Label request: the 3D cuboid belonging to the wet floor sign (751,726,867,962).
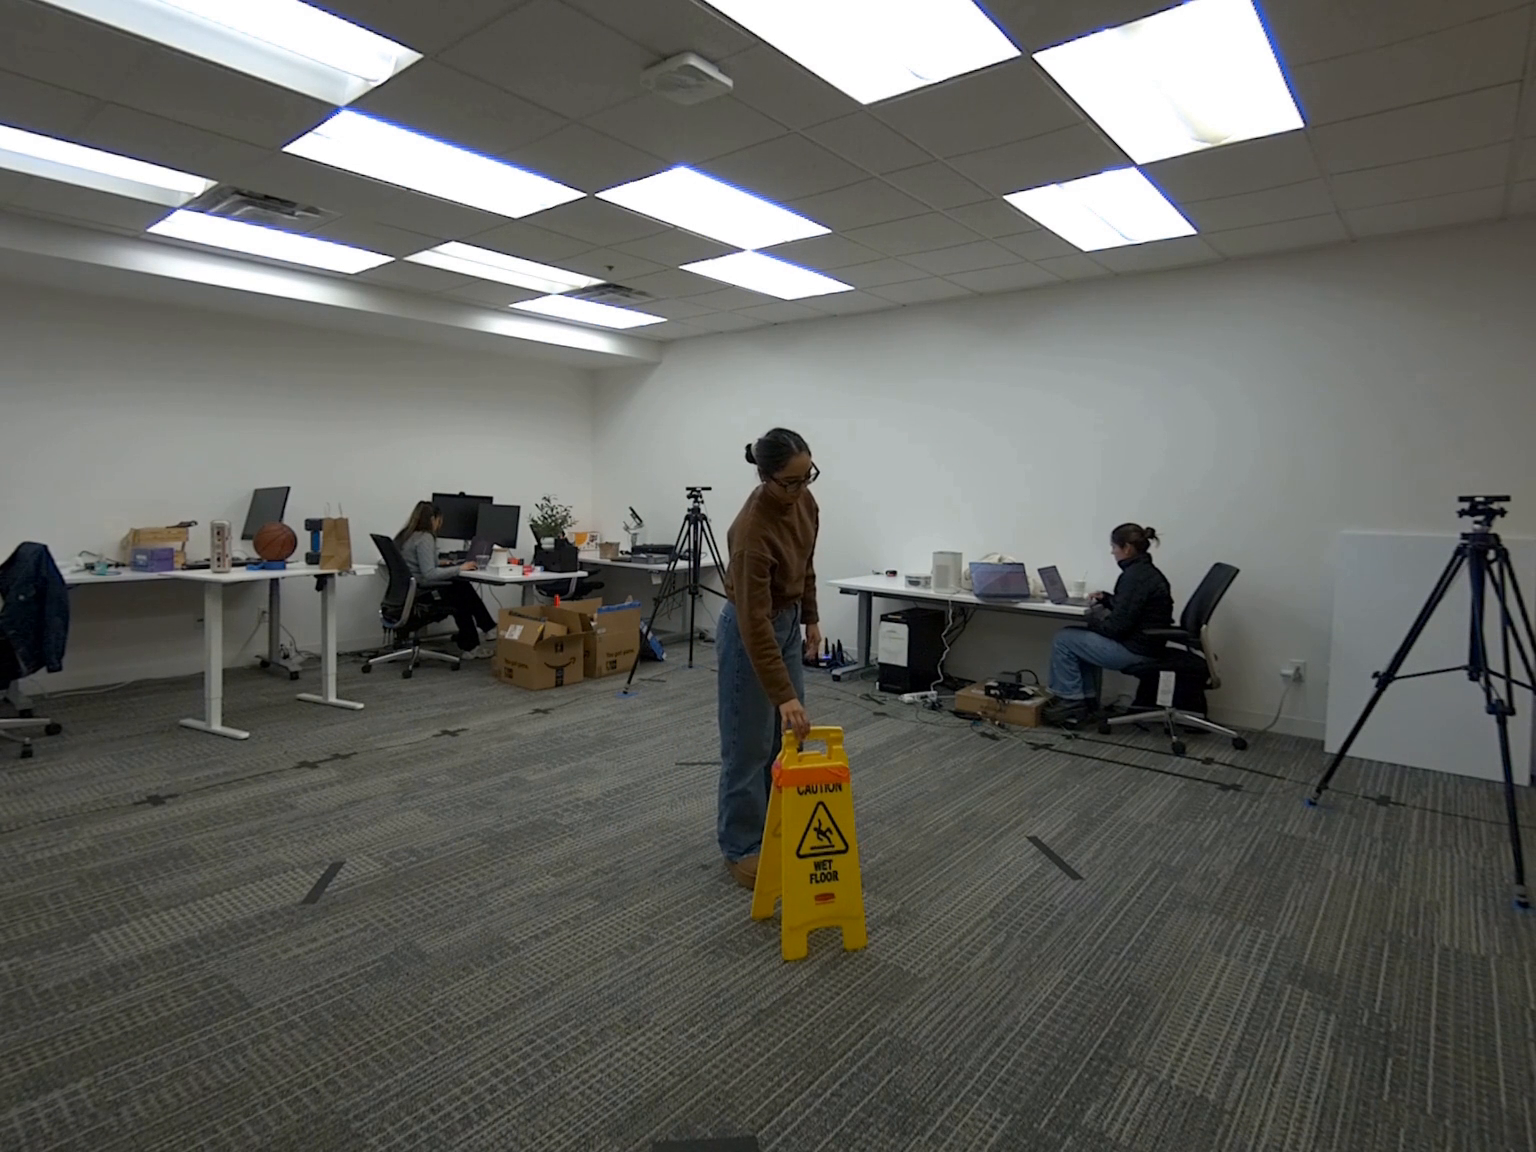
[{"bbox_3d":[0.125,0.788,2.658,0.276,0.644,0.297,-1,3,-22],"label":"wet floor sign"}]
